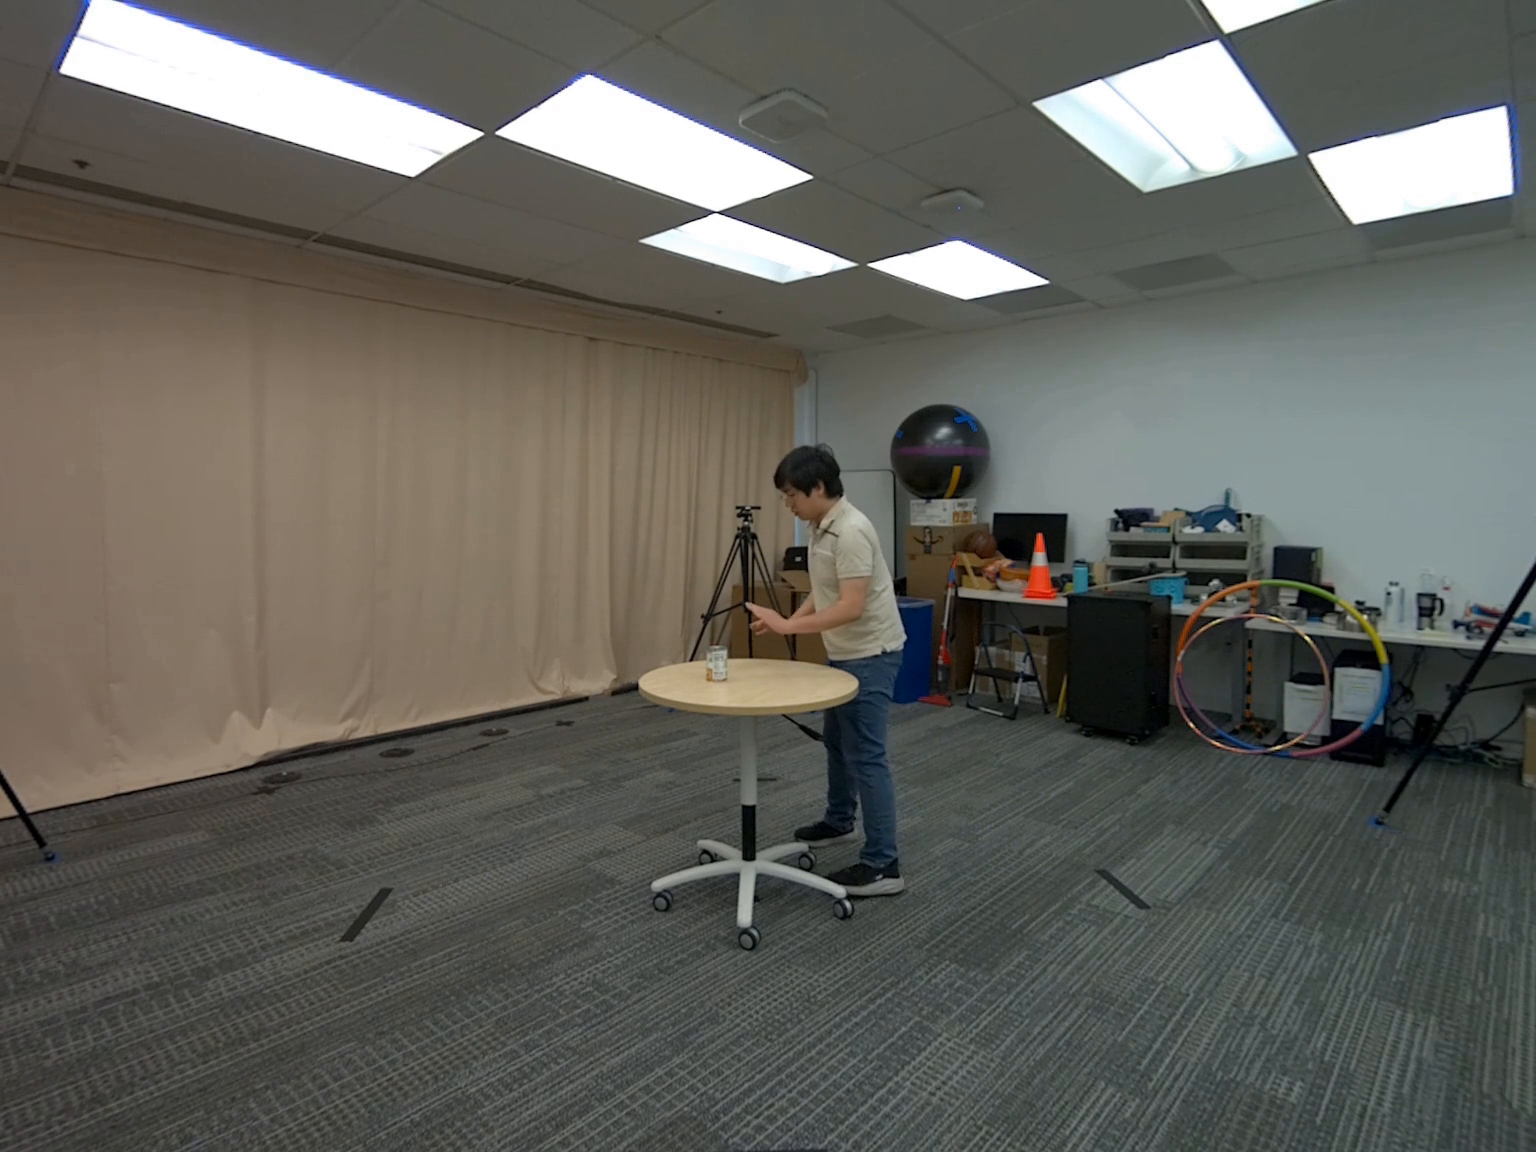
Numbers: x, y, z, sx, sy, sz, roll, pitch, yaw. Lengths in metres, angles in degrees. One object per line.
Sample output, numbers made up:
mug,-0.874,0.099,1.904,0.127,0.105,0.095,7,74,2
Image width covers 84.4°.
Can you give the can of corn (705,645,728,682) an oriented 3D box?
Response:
can of corn,-0.179,0.311,2.955,0.074,0.111,0.074,-2,5,-2
